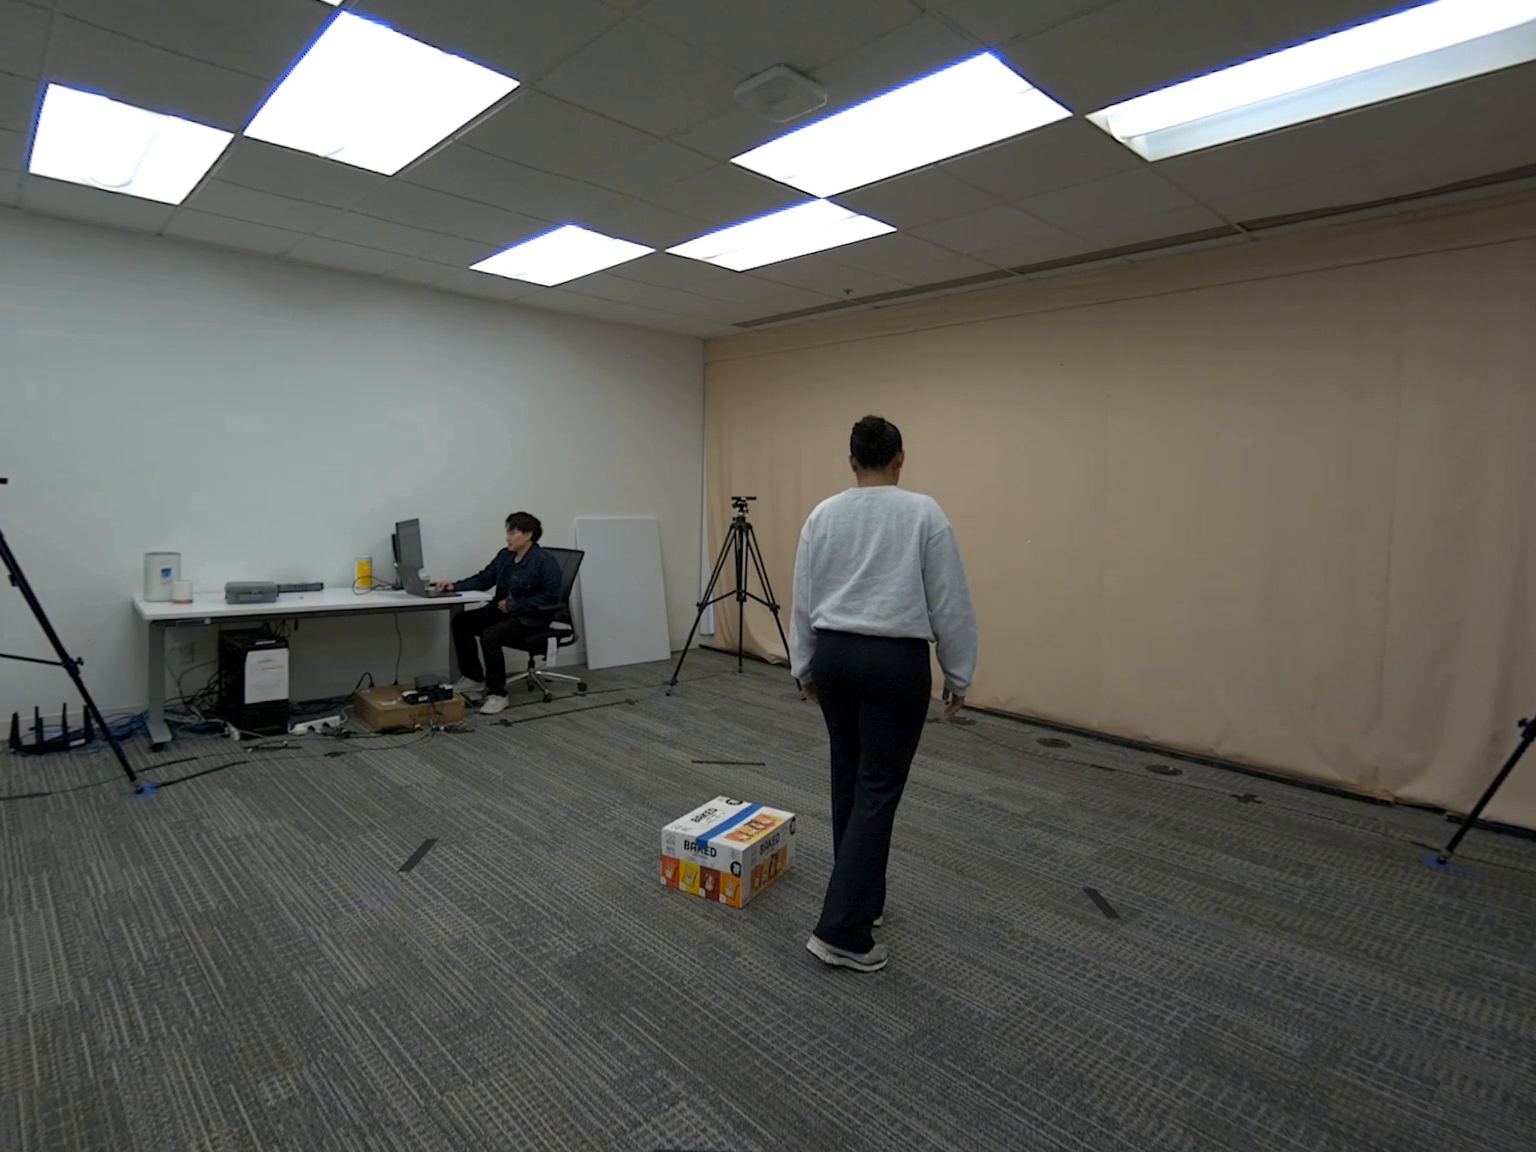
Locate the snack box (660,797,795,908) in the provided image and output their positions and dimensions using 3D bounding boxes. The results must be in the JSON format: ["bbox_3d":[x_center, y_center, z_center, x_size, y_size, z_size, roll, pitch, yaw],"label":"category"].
[{"bbox_3d":[-0.147,1.005,3.103,0.348,0.205,0.397,4,6,30],"label":"snack box"}]
